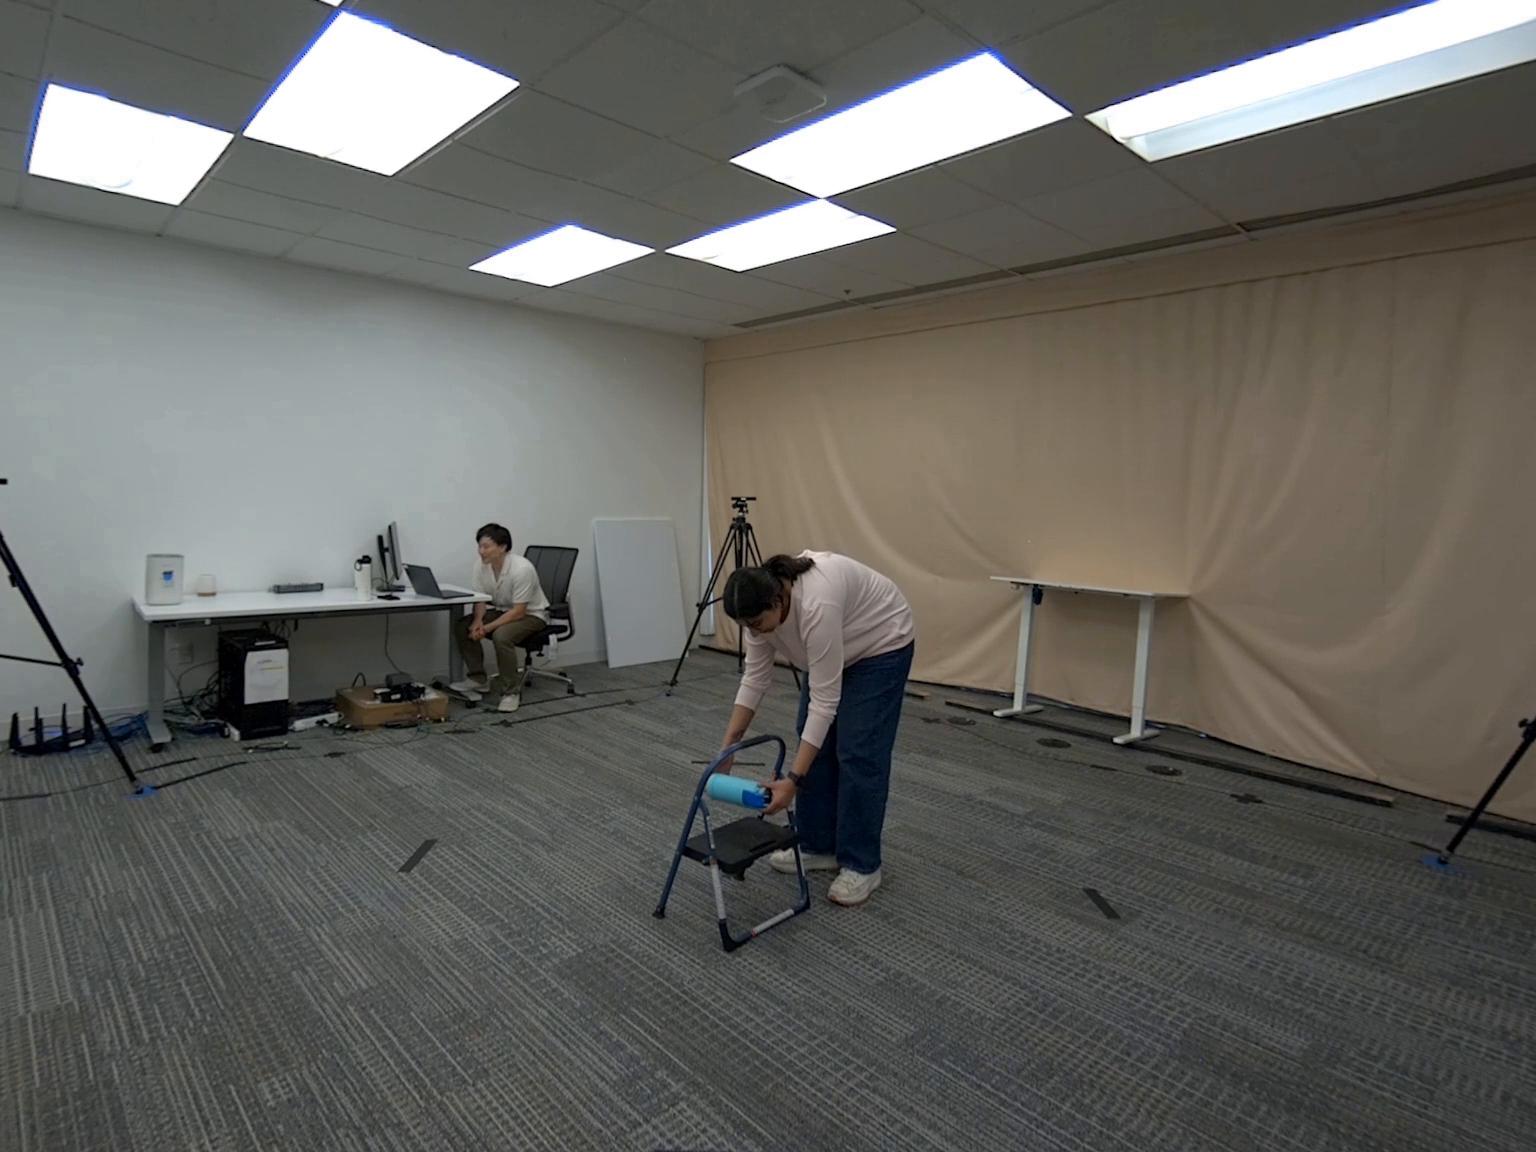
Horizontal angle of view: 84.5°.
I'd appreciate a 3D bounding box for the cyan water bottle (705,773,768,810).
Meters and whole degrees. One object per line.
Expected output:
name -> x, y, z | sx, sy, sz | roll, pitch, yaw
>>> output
cyan water bottle -> -0.078, 0.732, 2.832 | 0.289, 0.092, 0.090 | -3, 1, 36
